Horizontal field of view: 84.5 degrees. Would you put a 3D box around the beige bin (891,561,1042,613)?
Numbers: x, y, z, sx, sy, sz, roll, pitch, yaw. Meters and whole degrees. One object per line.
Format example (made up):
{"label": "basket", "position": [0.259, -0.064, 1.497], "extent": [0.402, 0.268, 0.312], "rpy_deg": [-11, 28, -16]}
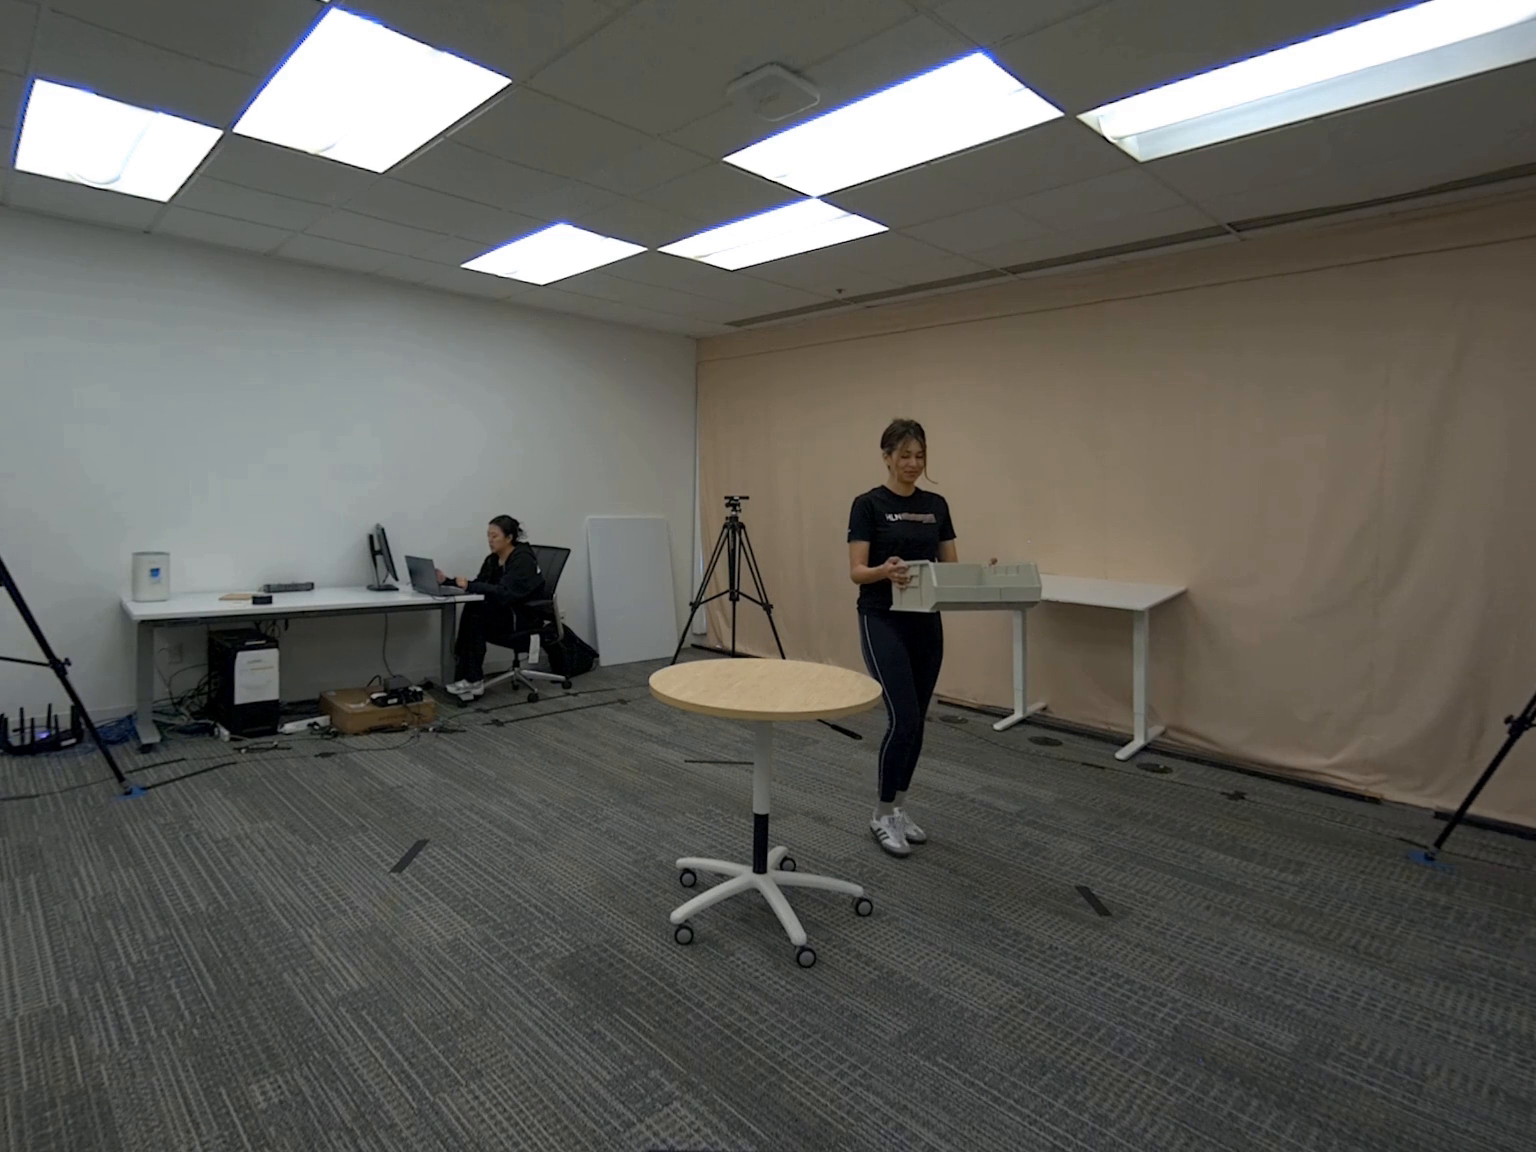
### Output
{"label": "beige bin", "position": [0.699, 0.046, 3.063], "extent": [0.417, 0.189, 0.381], "rpy_deg": [0, -2, -15]}
